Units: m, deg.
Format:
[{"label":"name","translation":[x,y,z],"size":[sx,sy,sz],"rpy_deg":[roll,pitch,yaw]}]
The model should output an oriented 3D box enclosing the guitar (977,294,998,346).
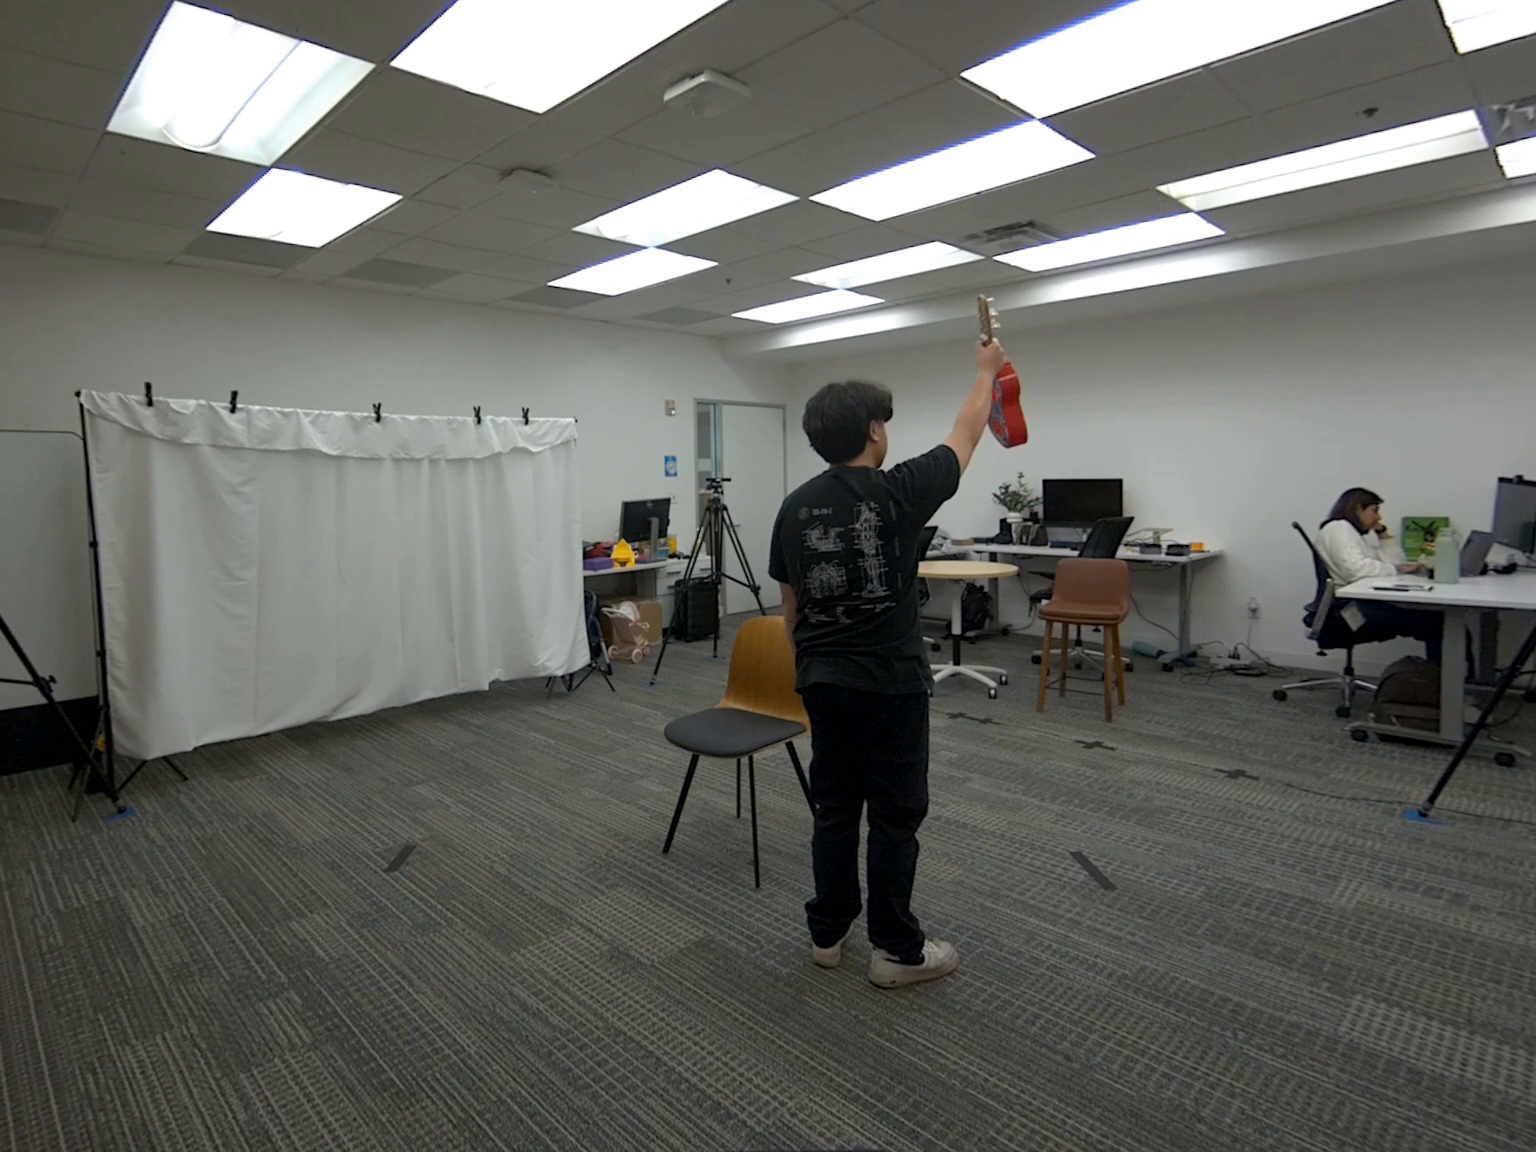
[{"label":"guitar","translation":[0.719,-0.598,2.599],"size":[0.071,0.481,0.199],"rpy_deg":[-17,42,1]}]
